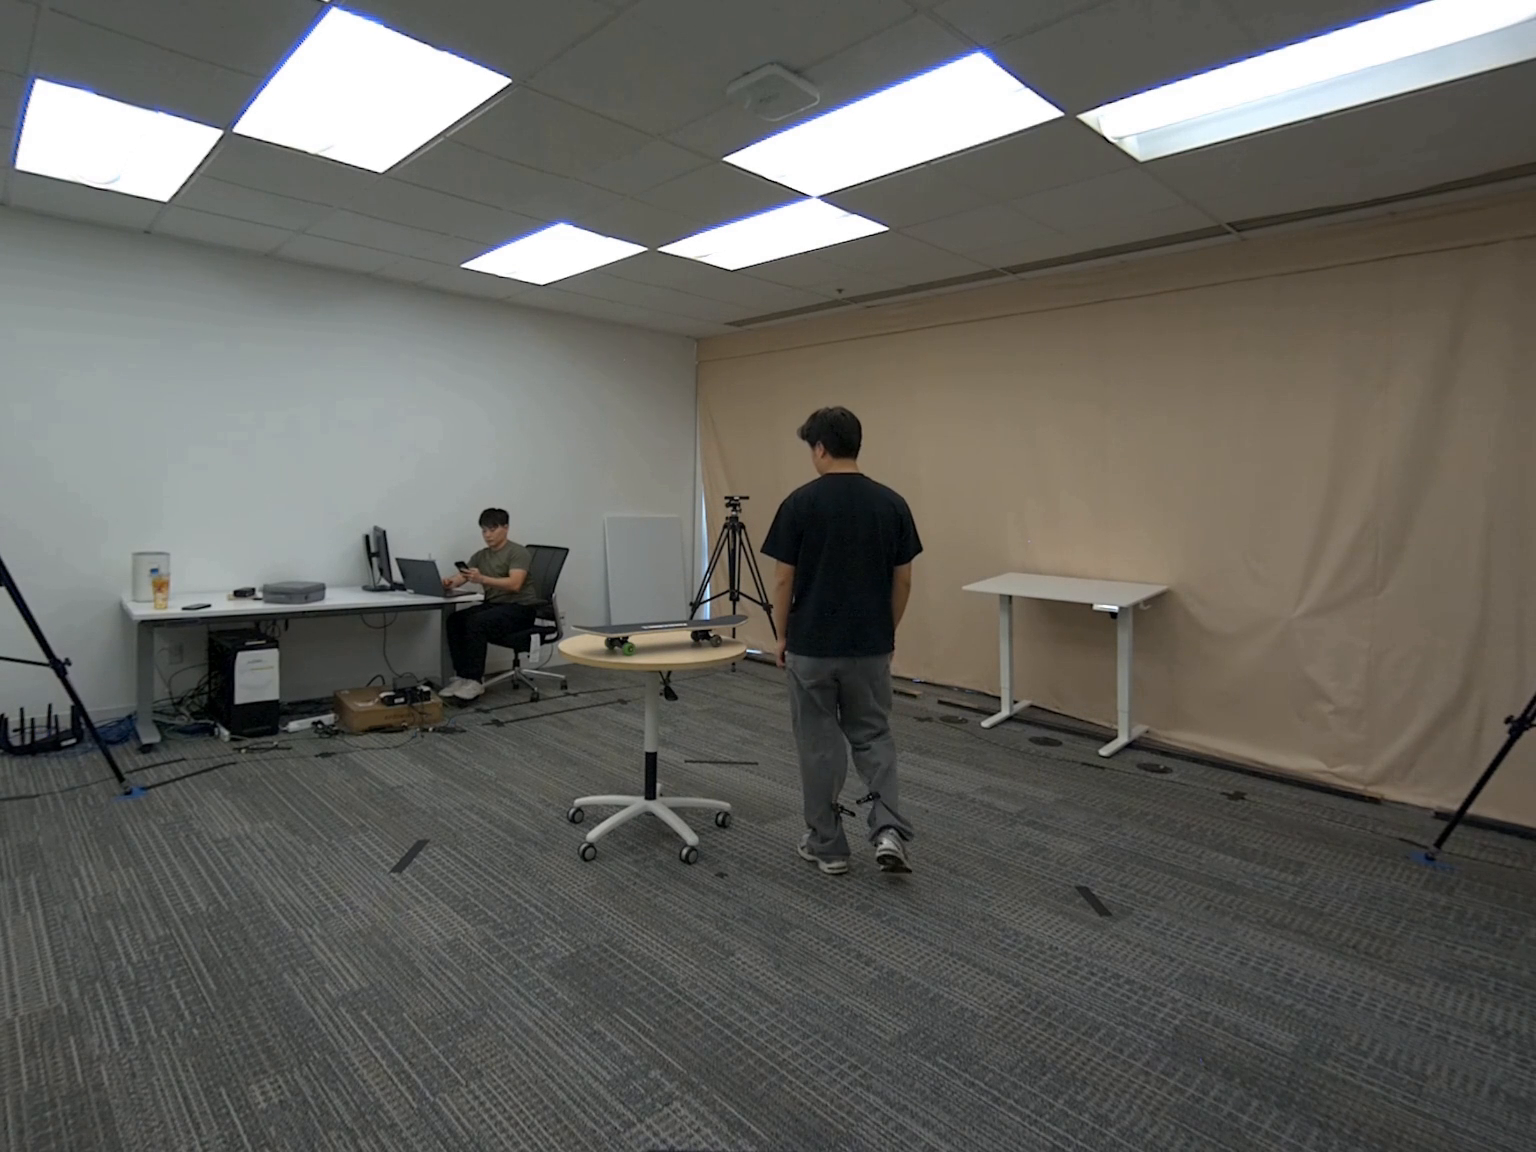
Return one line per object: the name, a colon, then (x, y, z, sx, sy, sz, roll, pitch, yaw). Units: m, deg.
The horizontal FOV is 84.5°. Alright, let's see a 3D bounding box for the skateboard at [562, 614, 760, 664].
skateboard: (-0.414, 0.240, 3.377, 0.768, 0.110, 0.198, -2, 6, -35)
